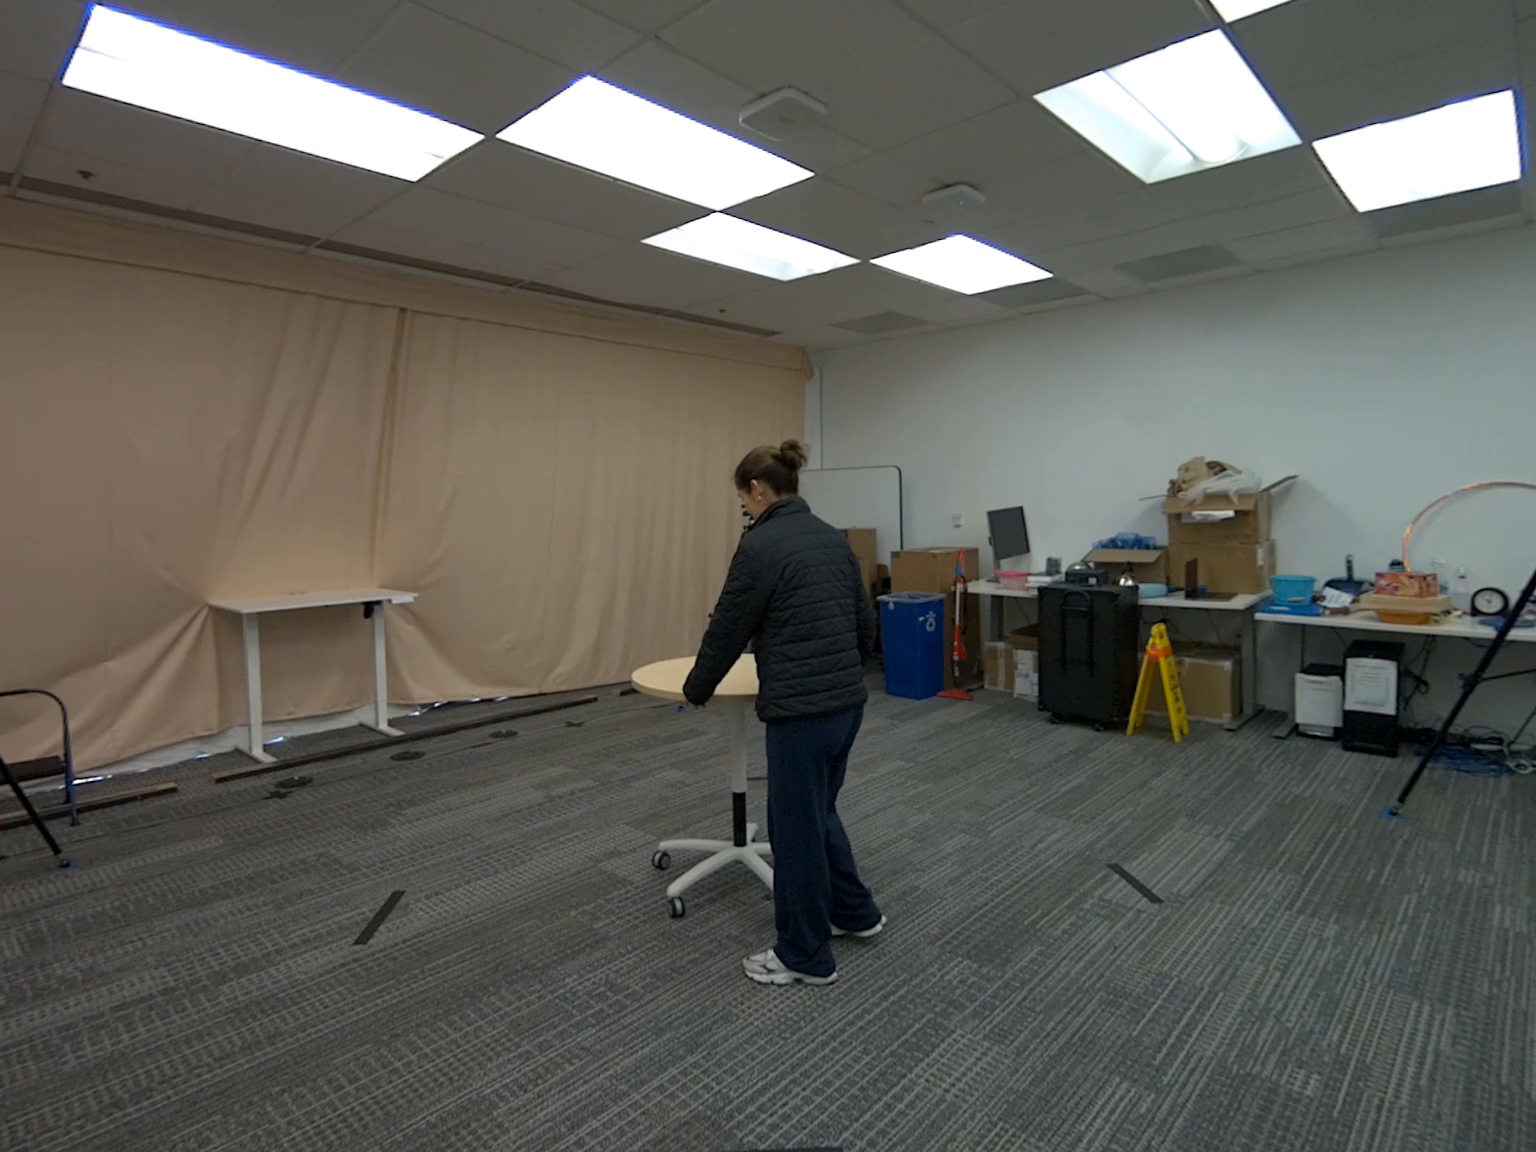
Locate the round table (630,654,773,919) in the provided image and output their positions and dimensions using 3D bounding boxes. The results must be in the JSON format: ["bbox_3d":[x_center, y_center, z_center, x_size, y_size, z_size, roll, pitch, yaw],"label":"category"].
[{"bbox_3d":[-0.090,0.738,3.103,0.784,0.785,0.788,-1,4,-2],"label":"round table"}]
